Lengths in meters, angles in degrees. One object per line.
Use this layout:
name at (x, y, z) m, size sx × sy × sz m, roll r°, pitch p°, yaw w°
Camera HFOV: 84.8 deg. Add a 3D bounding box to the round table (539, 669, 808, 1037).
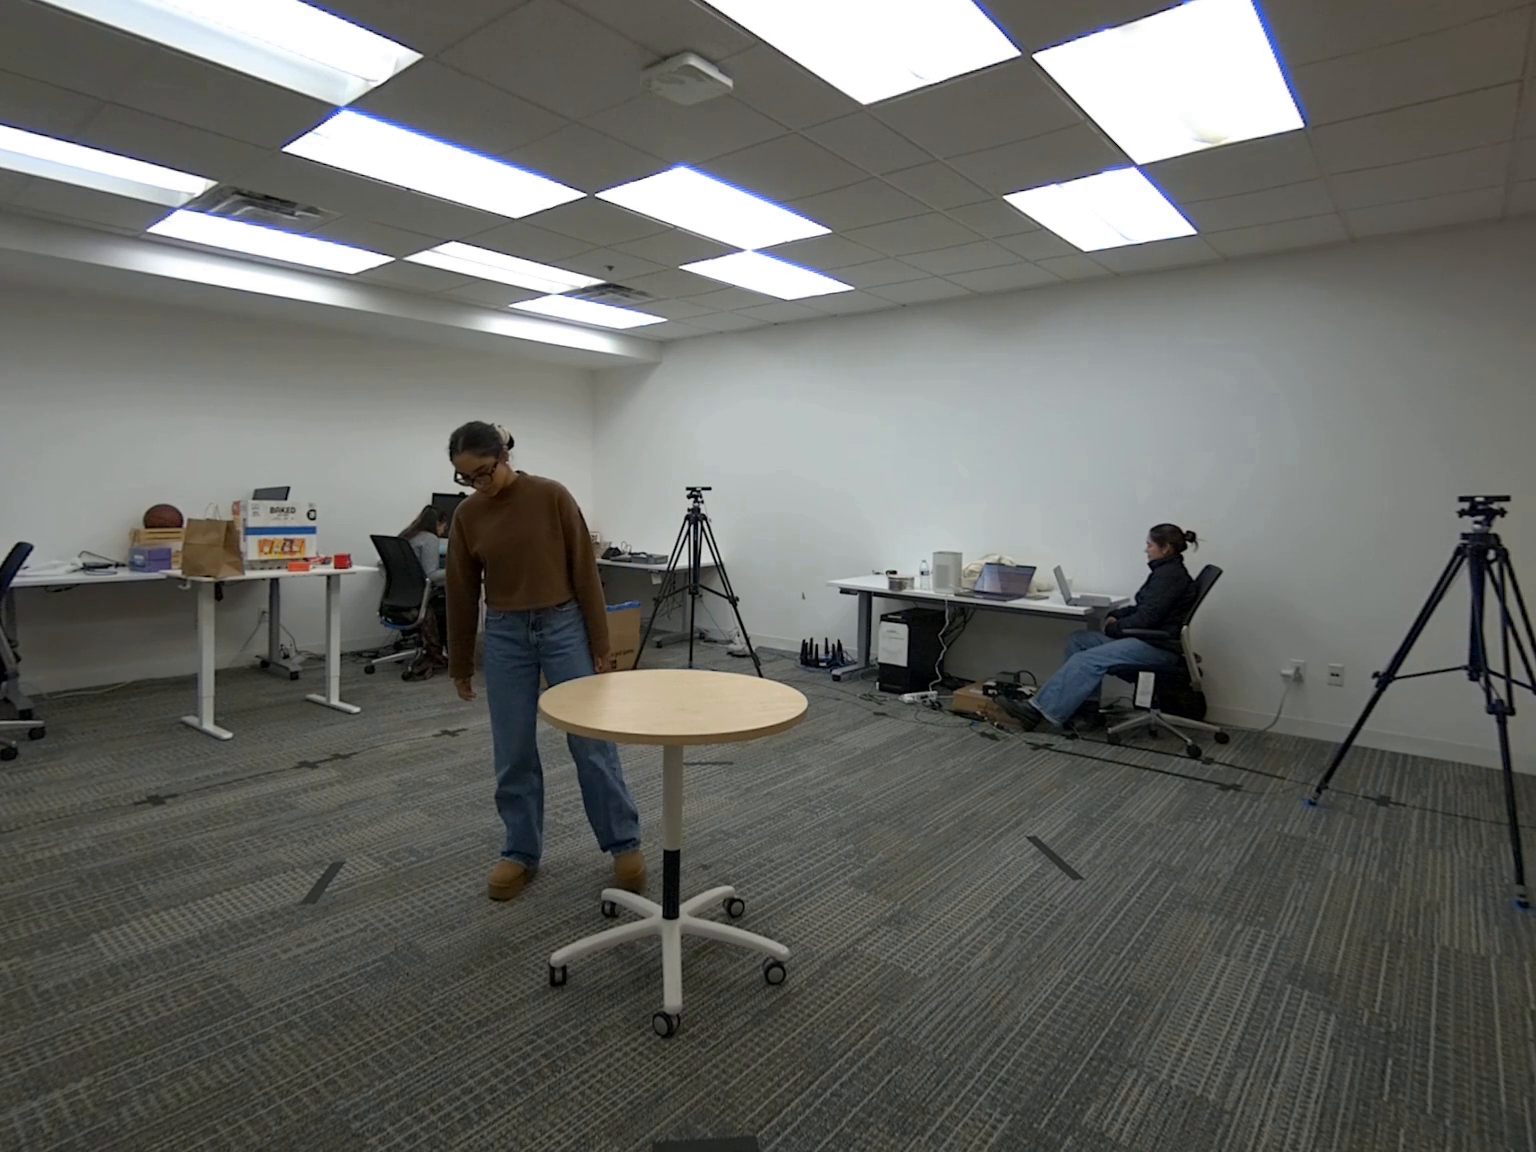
round table at (-0.286, 0.738, 2.474) m, size 0.763 × 0.791 × 0.768 m, roll 1°, pitch 4°, yaw -2°
